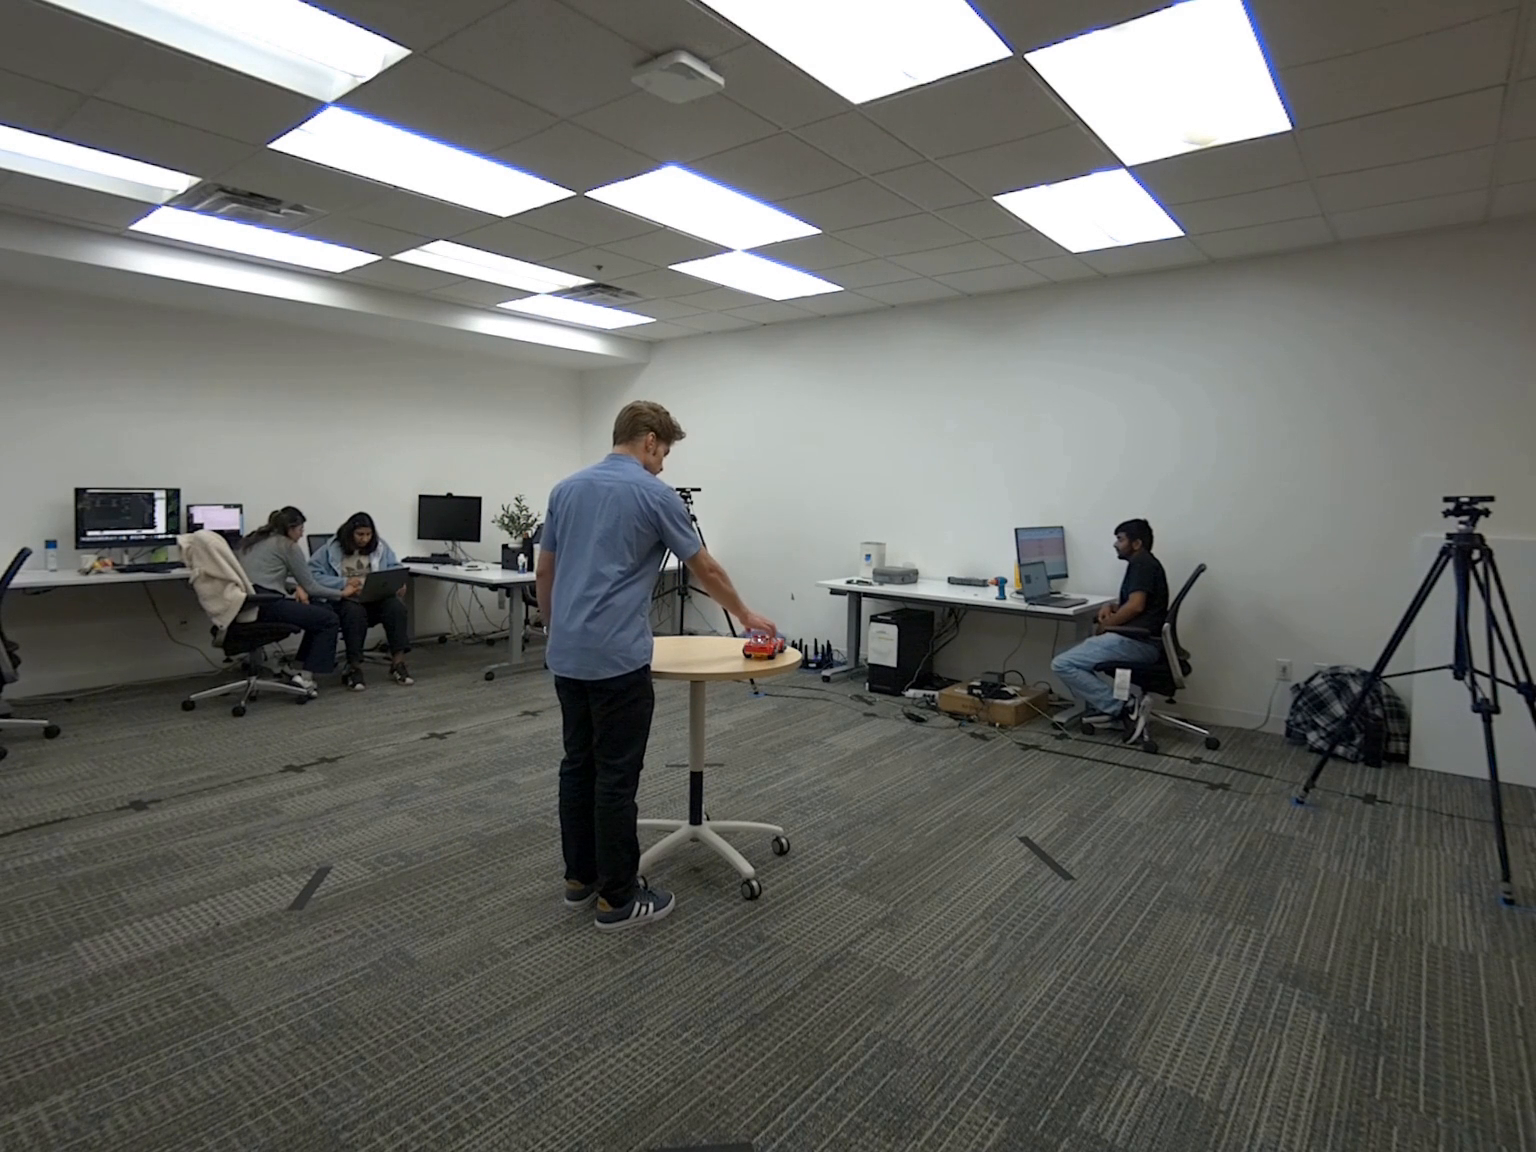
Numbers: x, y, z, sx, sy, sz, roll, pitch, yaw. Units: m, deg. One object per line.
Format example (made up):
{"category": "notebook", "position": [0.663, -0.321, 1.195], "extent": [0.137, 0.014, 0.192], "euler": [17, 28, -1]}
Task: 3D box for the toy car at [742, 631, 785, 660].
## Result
{"category": "toy car", "position": [-0.031, 0.258, 3.094], "extent": [0.133, 0.084, 0.248], "euler": [2, -5, 15]}
